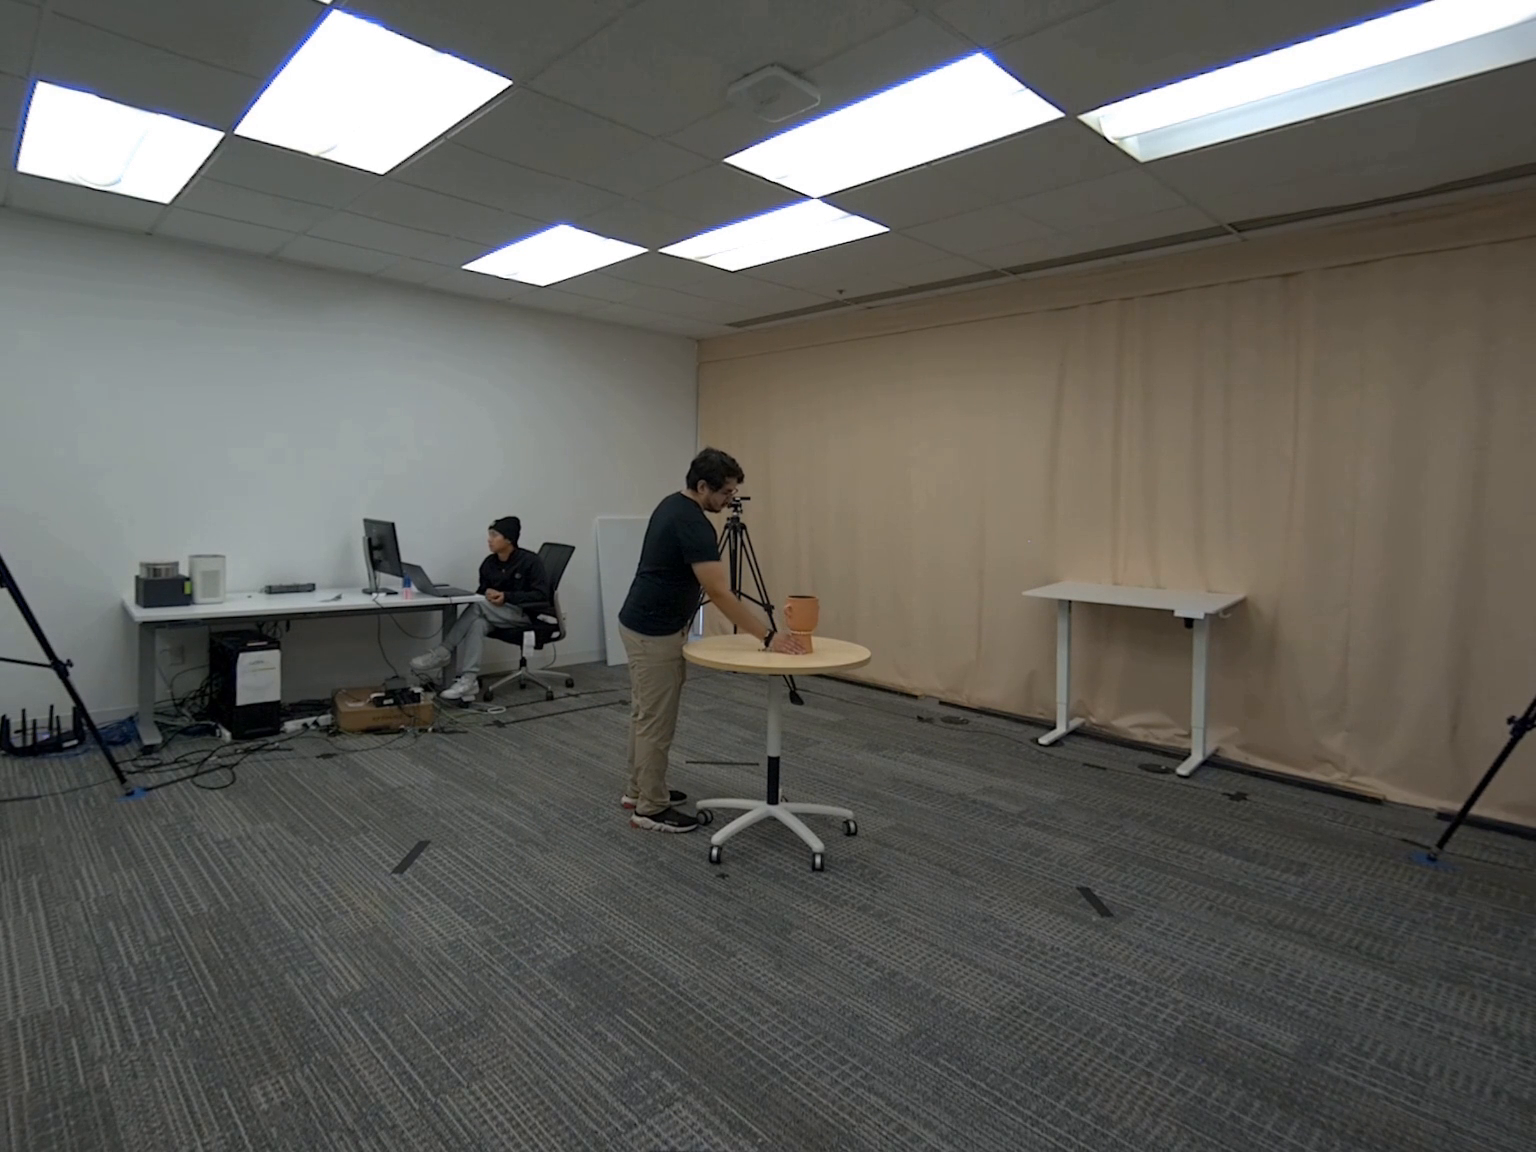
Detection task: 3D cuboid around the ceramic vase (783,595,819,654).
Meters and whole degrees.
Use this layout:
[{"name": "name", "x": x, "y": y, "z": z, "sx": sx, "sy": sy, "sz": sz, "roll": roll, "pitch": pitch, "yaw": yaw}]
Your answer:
[{"name": "ceramic vase", "x": 0.125, "y": 0.196, "z": 3.397, "sx": 0.158, "sy": 0.219, "sz": 0.135, "roll": 1, "pitch": 2, "yaw": -4}]
